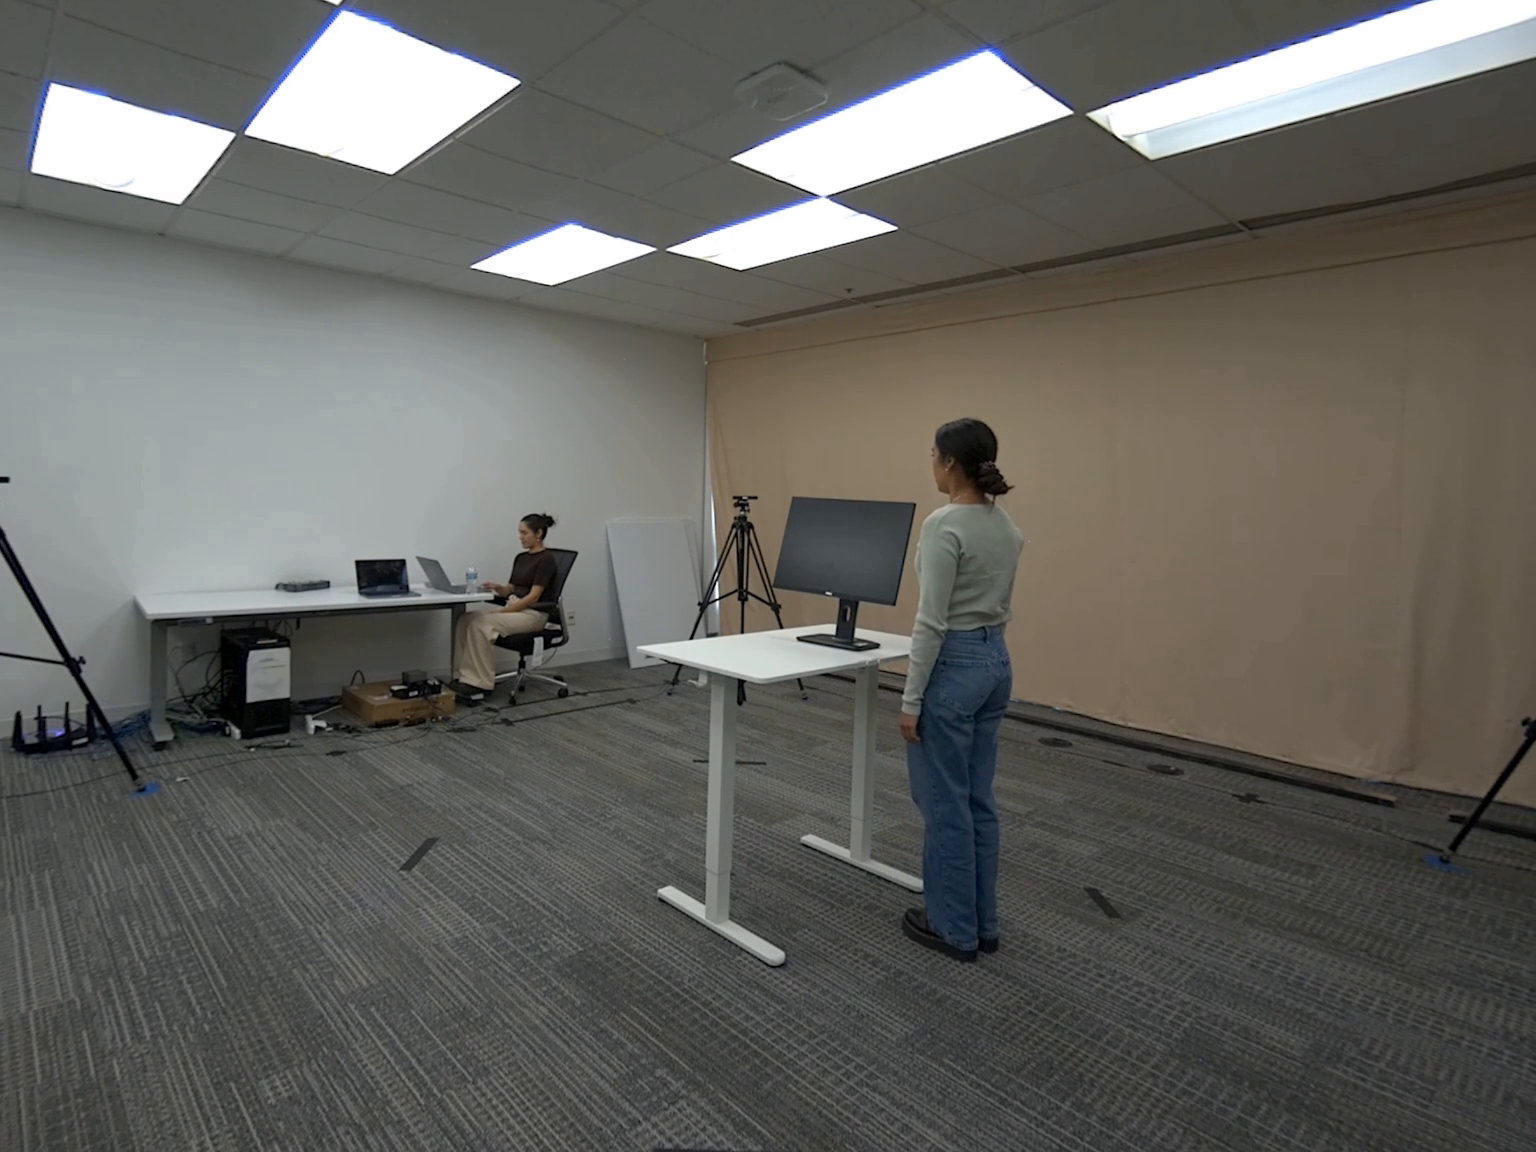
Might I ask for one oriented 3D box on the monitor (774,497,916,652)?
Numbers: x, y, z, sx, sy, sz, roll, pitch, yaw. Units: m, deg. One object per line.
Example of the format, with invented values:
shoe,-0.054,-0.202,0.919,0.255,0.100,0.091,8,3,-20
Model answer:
monitor,0.258,-0.015,2.977,0.544,0.514,0.171,8,8,43
